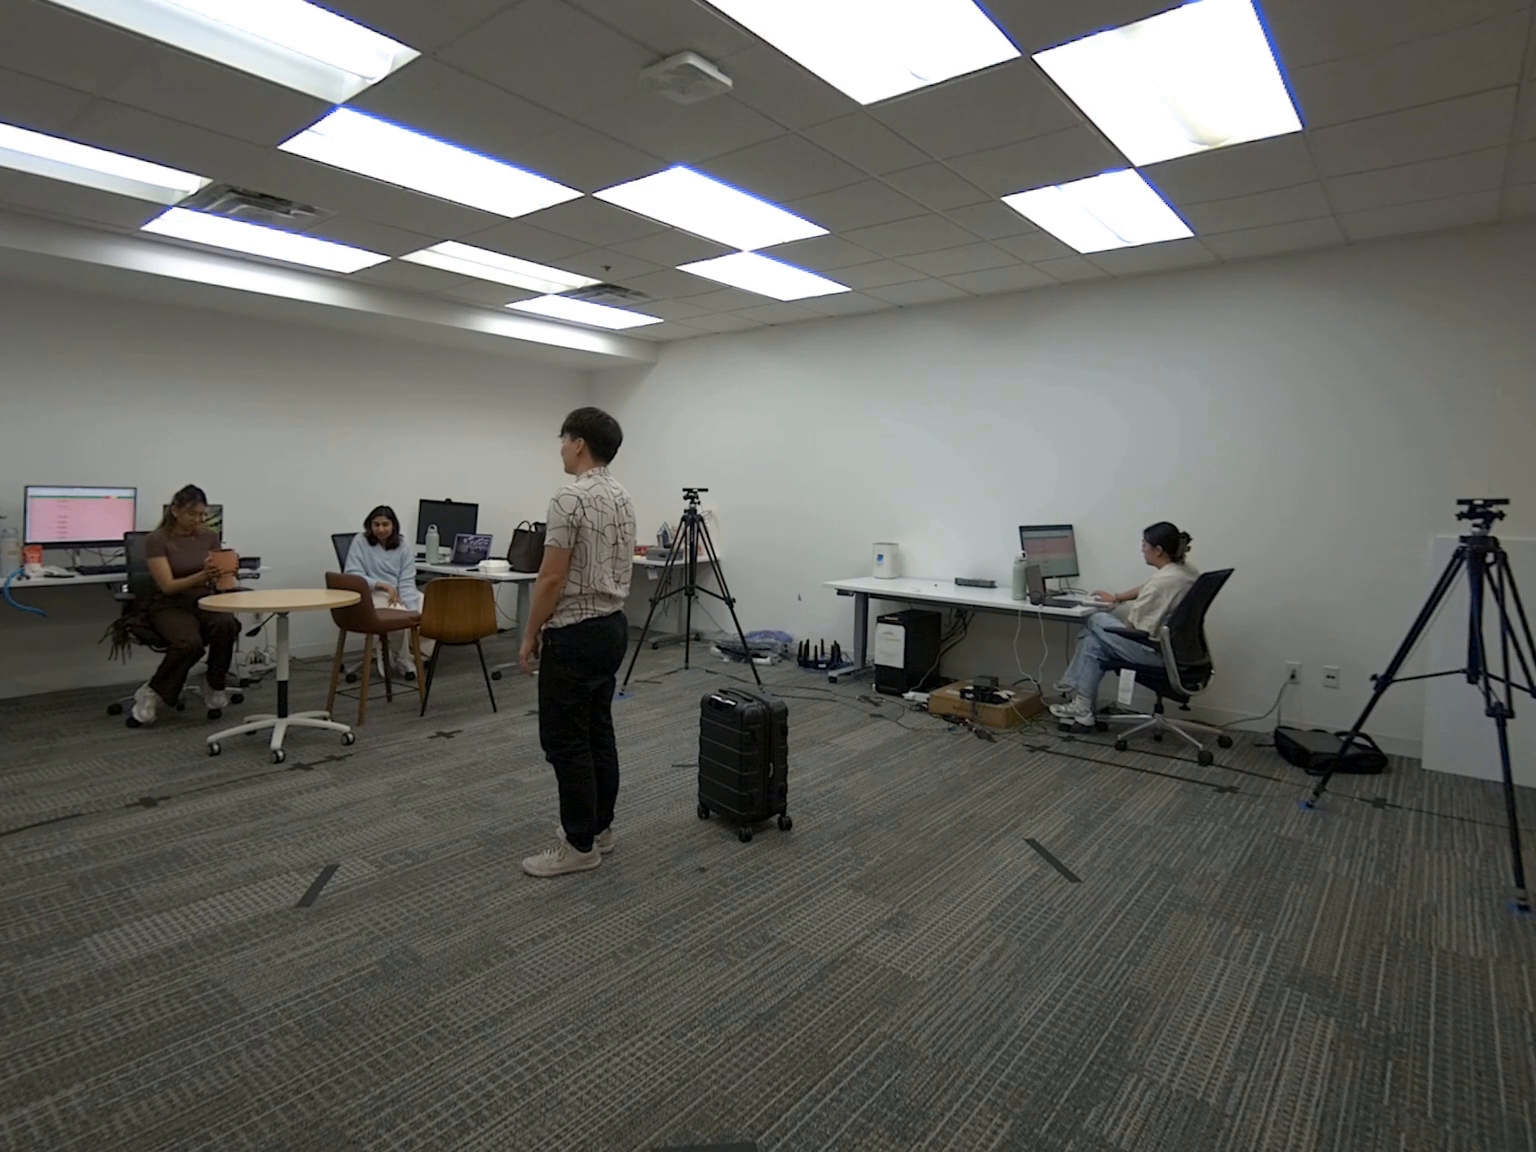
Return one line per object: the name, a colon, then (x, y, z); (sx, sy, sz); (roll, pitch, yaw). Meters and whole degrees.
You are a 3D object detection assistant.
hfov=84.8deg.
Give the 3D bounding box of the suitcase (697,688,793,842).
suitcase: (-0.118, 0.750, 3.570); (0.241, 0.549, 0.387); (-1, 2, -38)
